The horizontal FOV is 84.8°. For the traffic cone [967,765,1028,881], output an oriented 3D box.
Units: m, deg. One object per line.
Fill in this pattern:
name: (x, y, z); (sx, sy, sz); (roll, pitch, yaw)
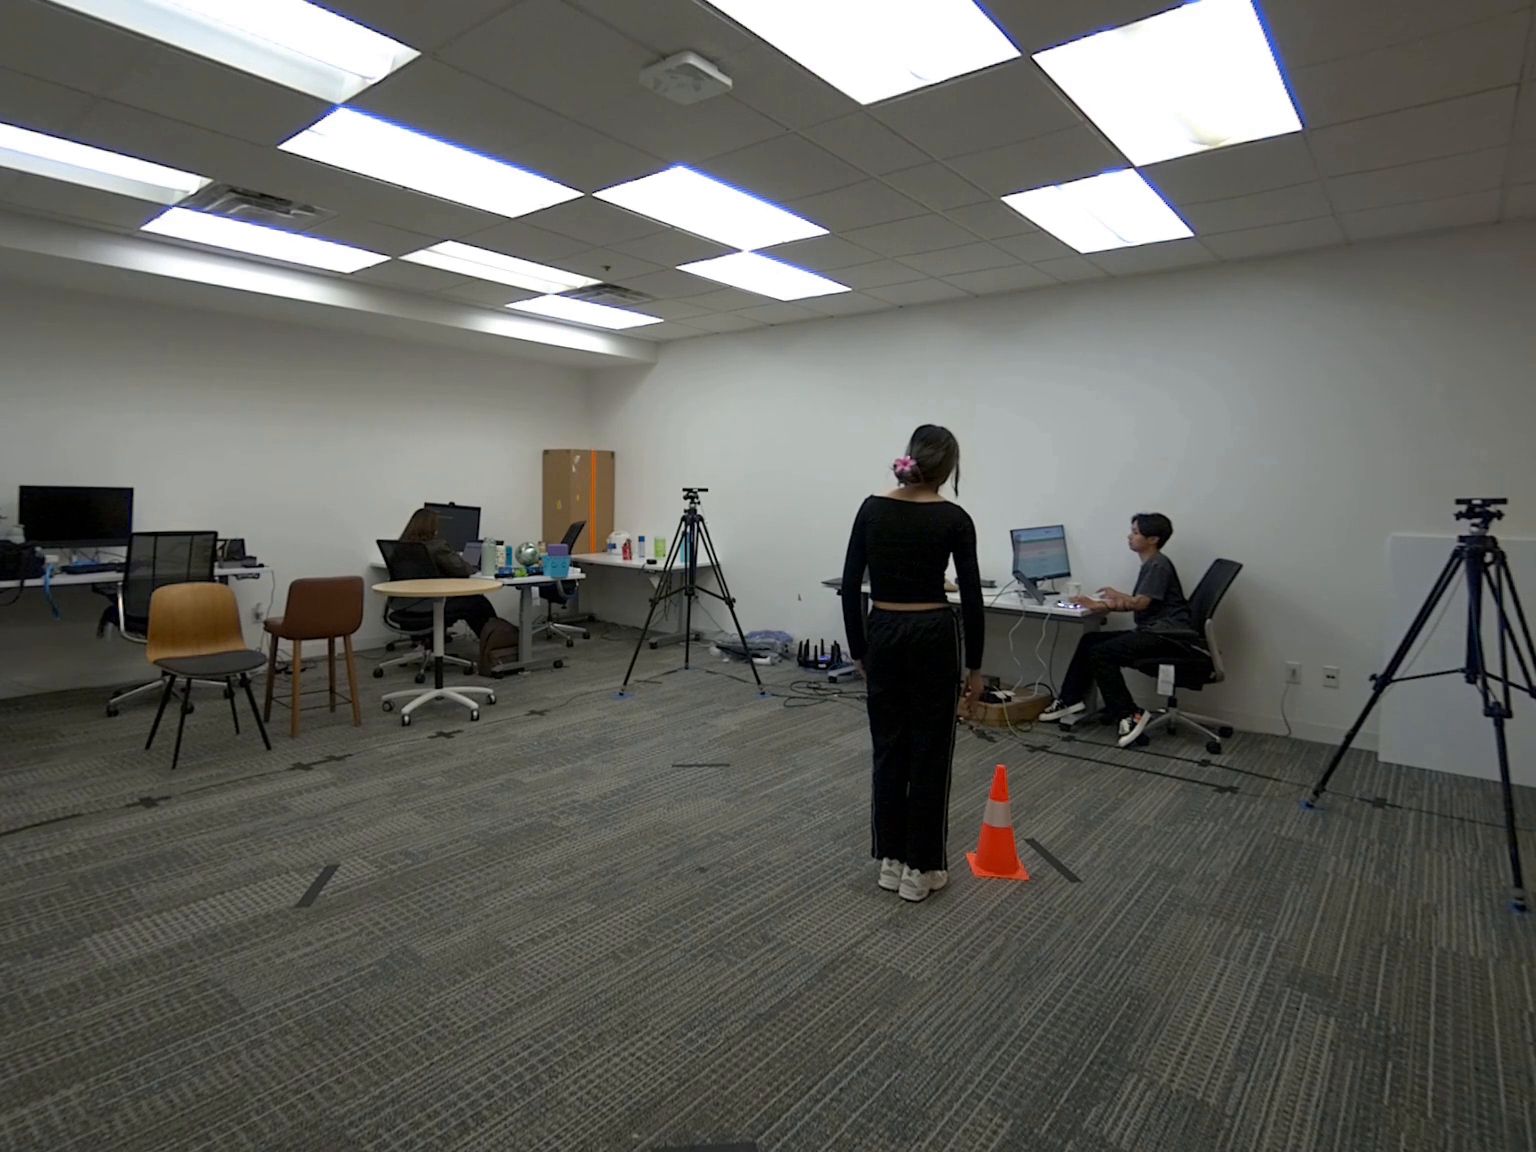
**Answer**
traffic cone: (0.860, 0.900, 3.188); (0.205, 0.382, 0.204); (2, 6, 1)
